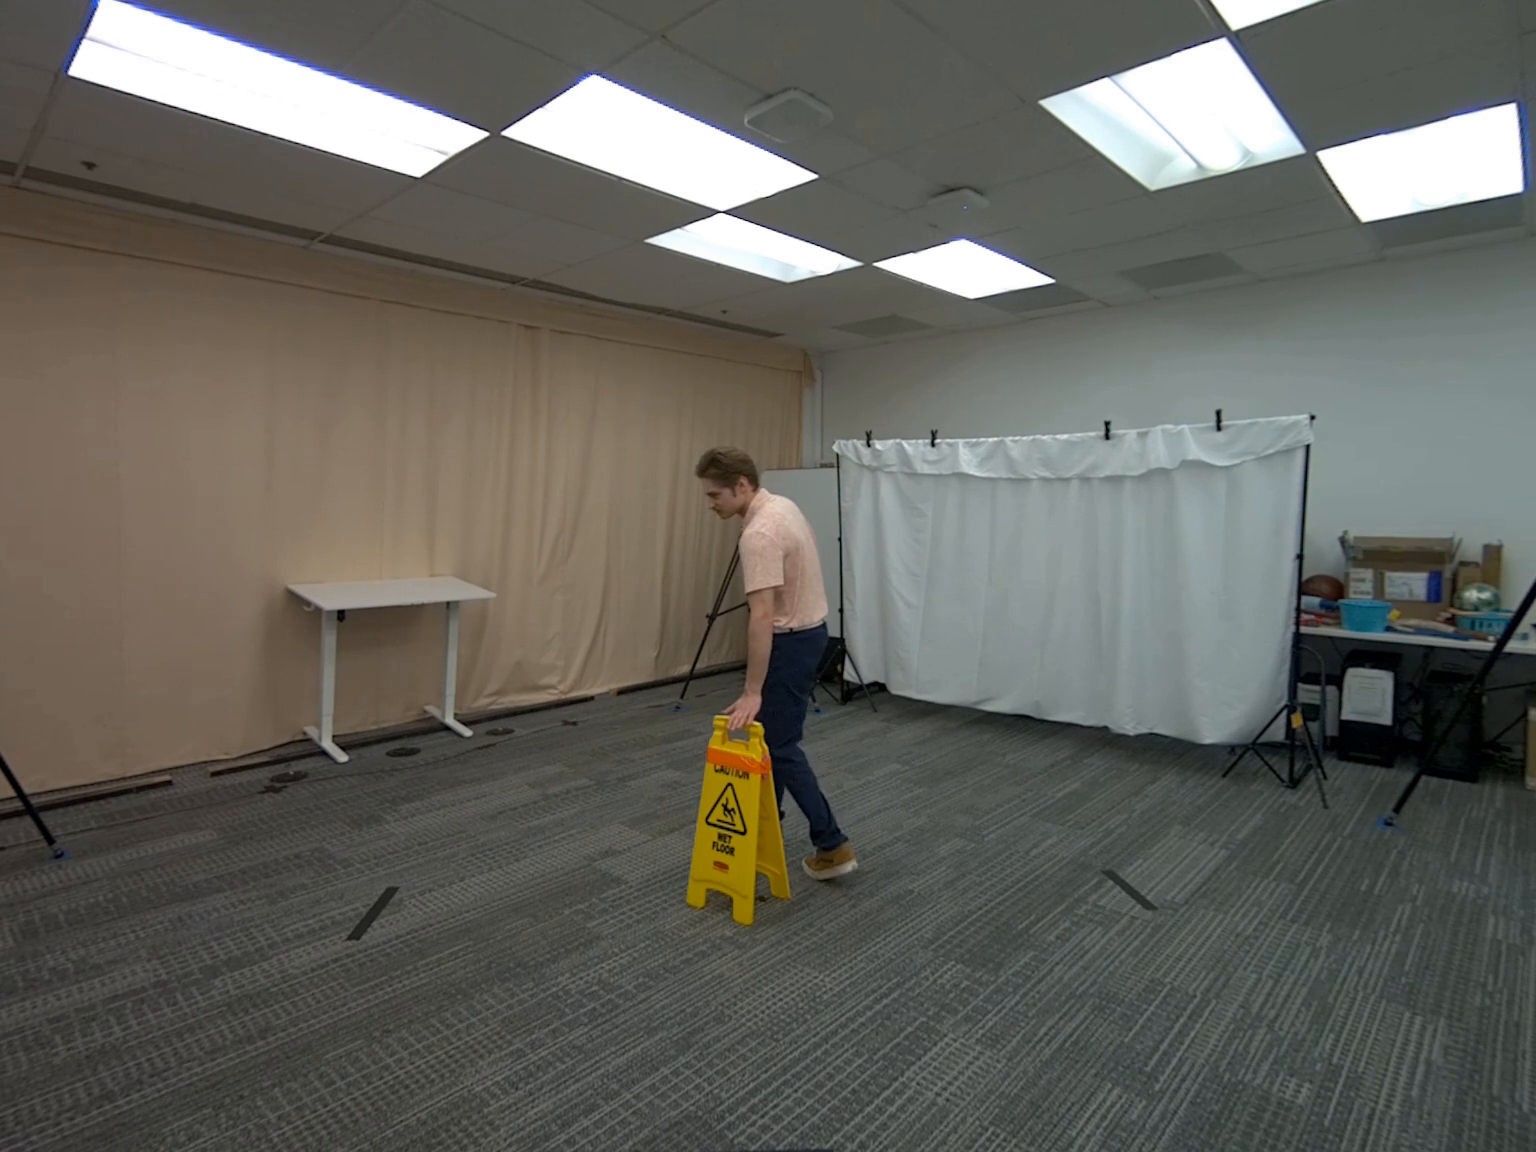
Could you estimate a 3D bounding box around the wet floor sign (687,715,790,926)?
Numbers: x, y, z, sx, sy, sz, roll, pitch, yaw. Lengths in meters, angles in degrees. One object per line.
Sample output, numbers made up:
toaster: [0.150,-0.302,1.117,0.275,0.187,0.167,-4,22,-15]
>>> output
wet floor sign: [-0.098,0.821,2.956,0.291,0.645,0.281,2,4,35]
